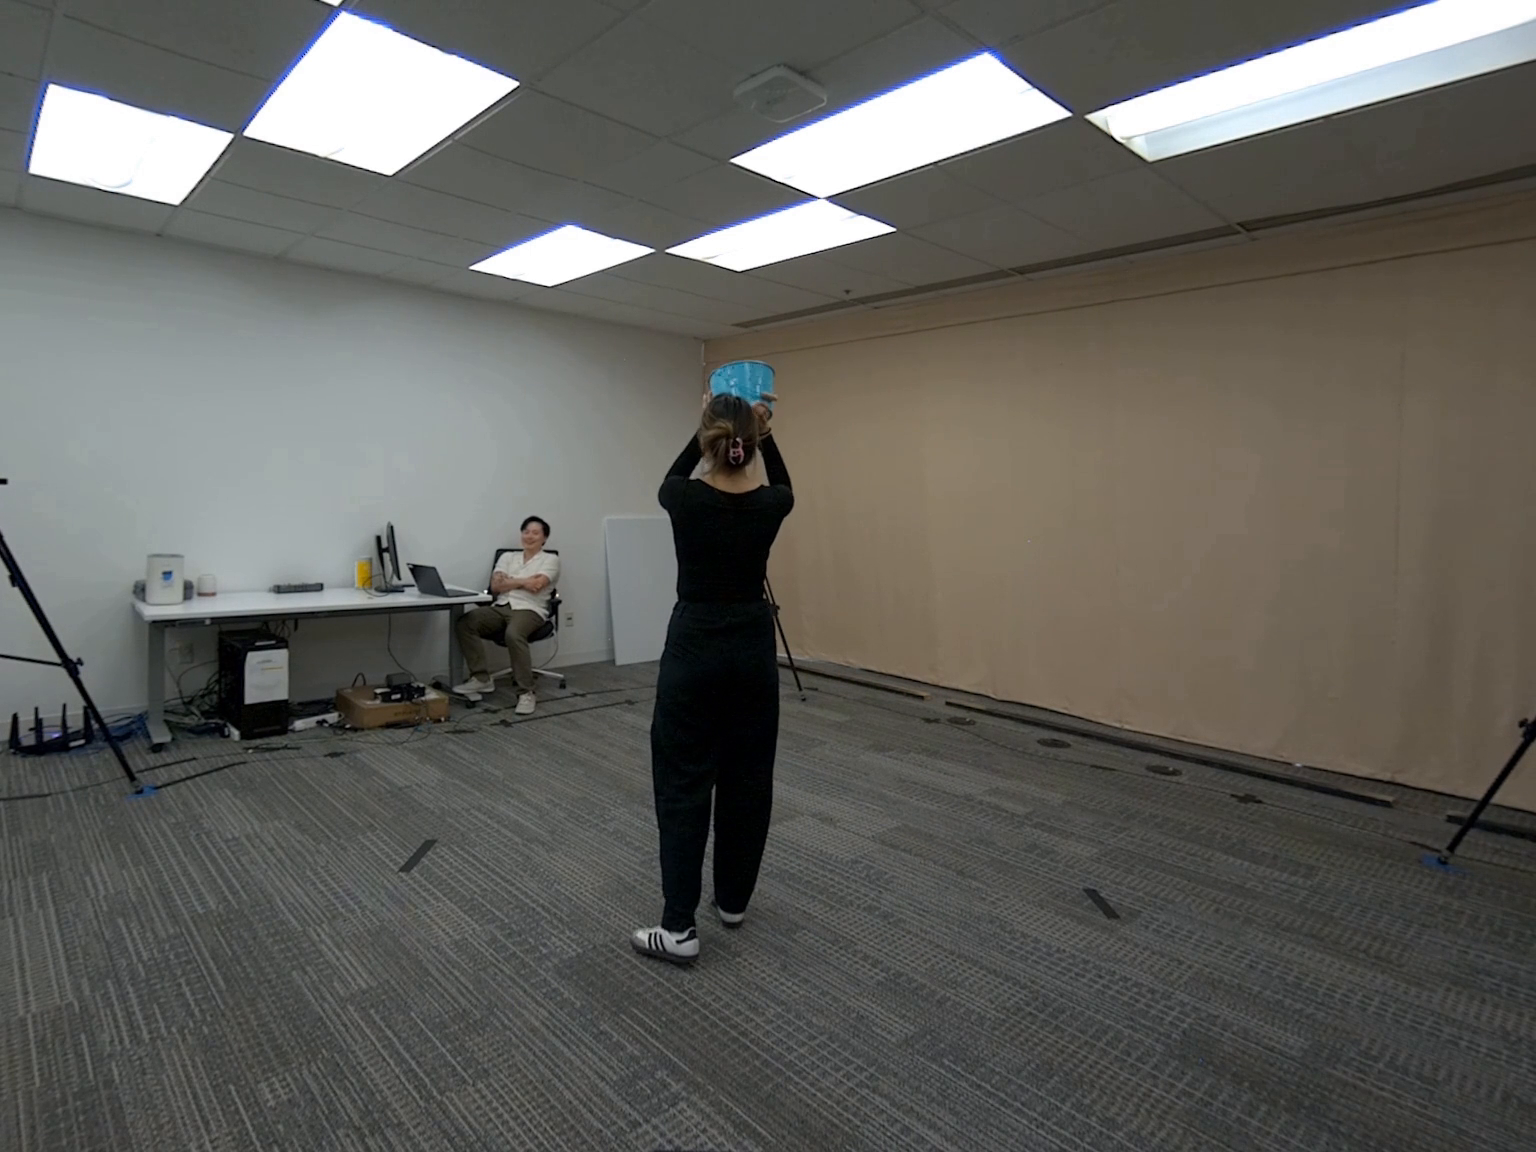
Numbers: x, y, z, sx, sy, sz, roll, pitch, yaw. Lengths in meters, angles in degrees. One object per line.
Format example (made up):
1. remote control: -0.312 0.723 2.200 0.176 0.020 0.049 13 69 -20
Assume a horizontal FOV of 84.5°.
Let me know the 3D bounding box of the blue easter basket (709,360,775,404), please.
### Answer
1. blue easter basket: -0.087 -0.613 2.865 0.243 0.157 0.241 -5 -12 -2
